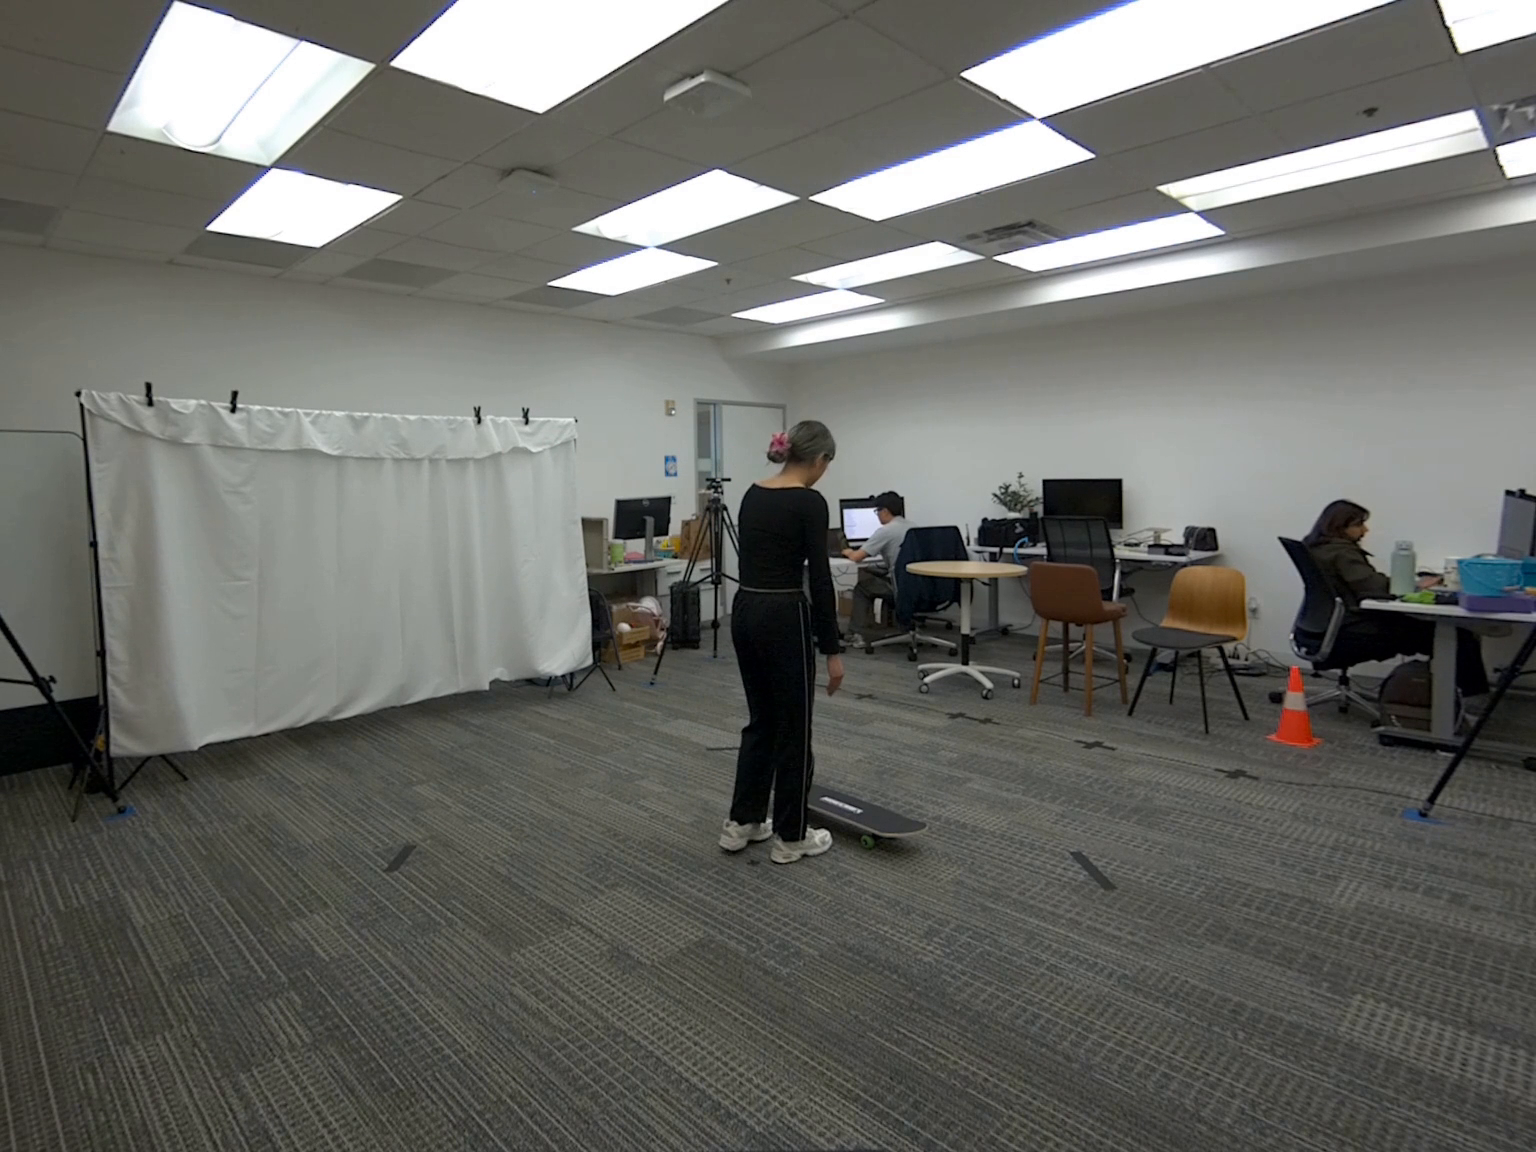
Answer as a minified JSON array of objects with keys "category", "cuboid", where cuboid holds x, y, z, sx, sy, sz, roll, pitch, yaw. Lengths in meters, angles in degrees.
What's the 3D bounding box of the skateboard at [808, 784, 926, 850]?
[{"category":"skateboard","cuboid":[0.309,0.954,3.413,0.188,0.110,0.810,-5,7,-42]}]
